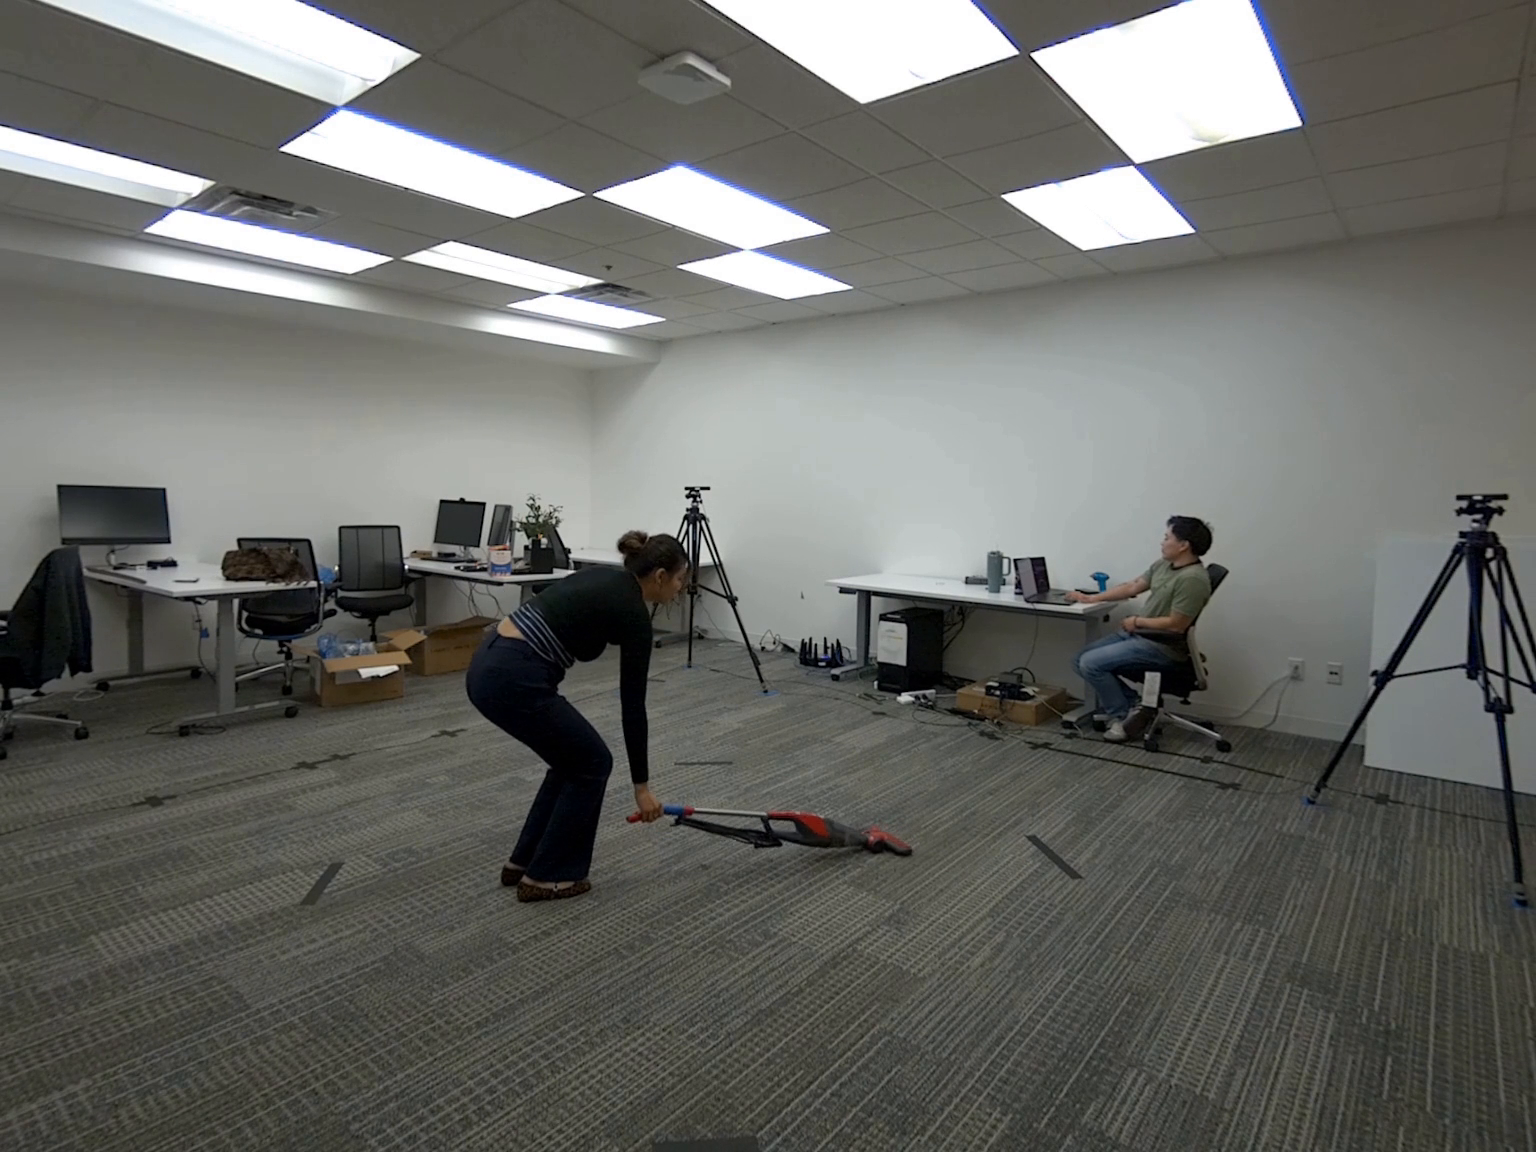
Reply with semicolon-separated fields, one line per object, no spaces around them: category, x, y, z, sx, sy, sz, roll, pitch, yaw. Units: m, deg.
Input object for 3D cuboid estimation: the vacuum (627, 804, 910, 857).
vacuum;-0.016;0.926;3.124;1.021;0.145;0.258;10;-7;-24
